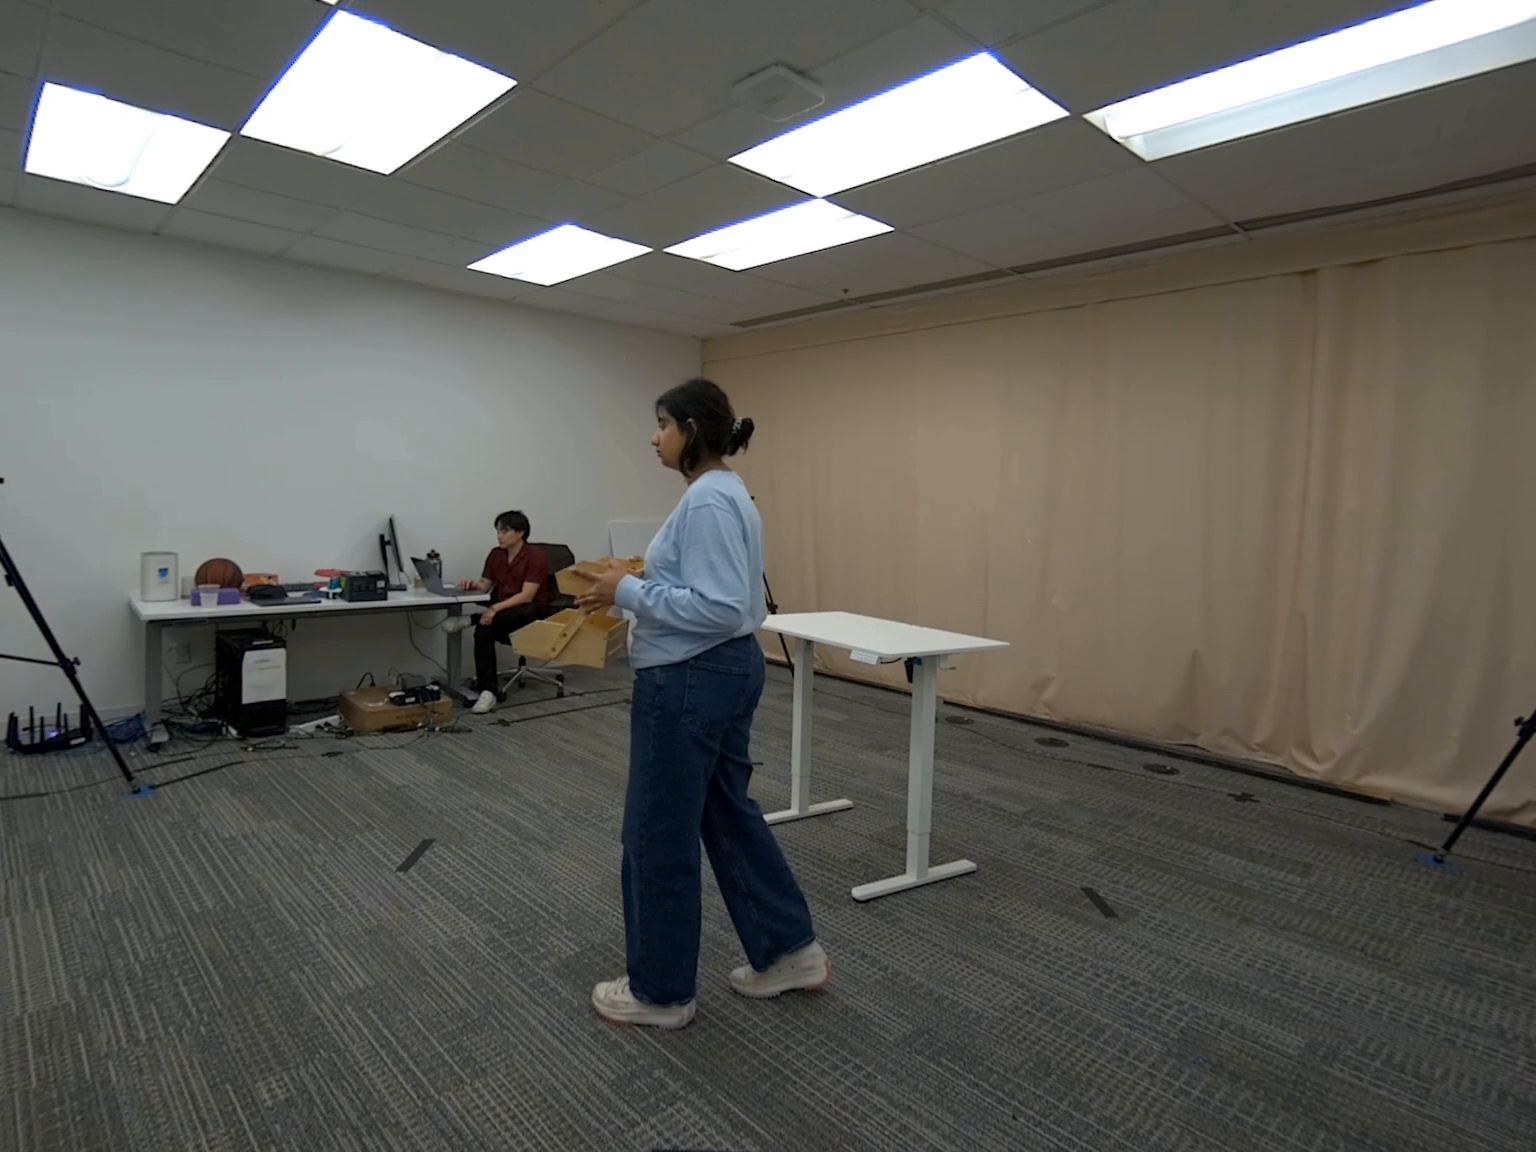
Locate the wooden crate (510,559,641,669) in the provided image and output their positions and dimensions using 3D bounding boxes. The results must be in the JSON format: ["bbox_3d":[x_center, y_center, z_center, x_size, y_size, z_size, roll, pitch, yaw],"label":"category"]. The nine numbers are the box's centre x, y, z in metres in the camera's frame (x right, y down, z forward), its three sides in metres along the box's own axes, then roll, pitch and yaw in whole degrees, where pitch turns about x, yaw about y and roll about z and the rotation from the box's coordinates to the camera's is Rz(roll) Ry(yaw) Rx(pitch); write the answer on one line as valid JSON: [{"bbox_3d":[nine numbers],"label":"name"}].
[{"bbox_3d":[-0.489,0.082,2.263,0.303,0.273,0.324,9,4,3],"label":"wooden crate"}]
